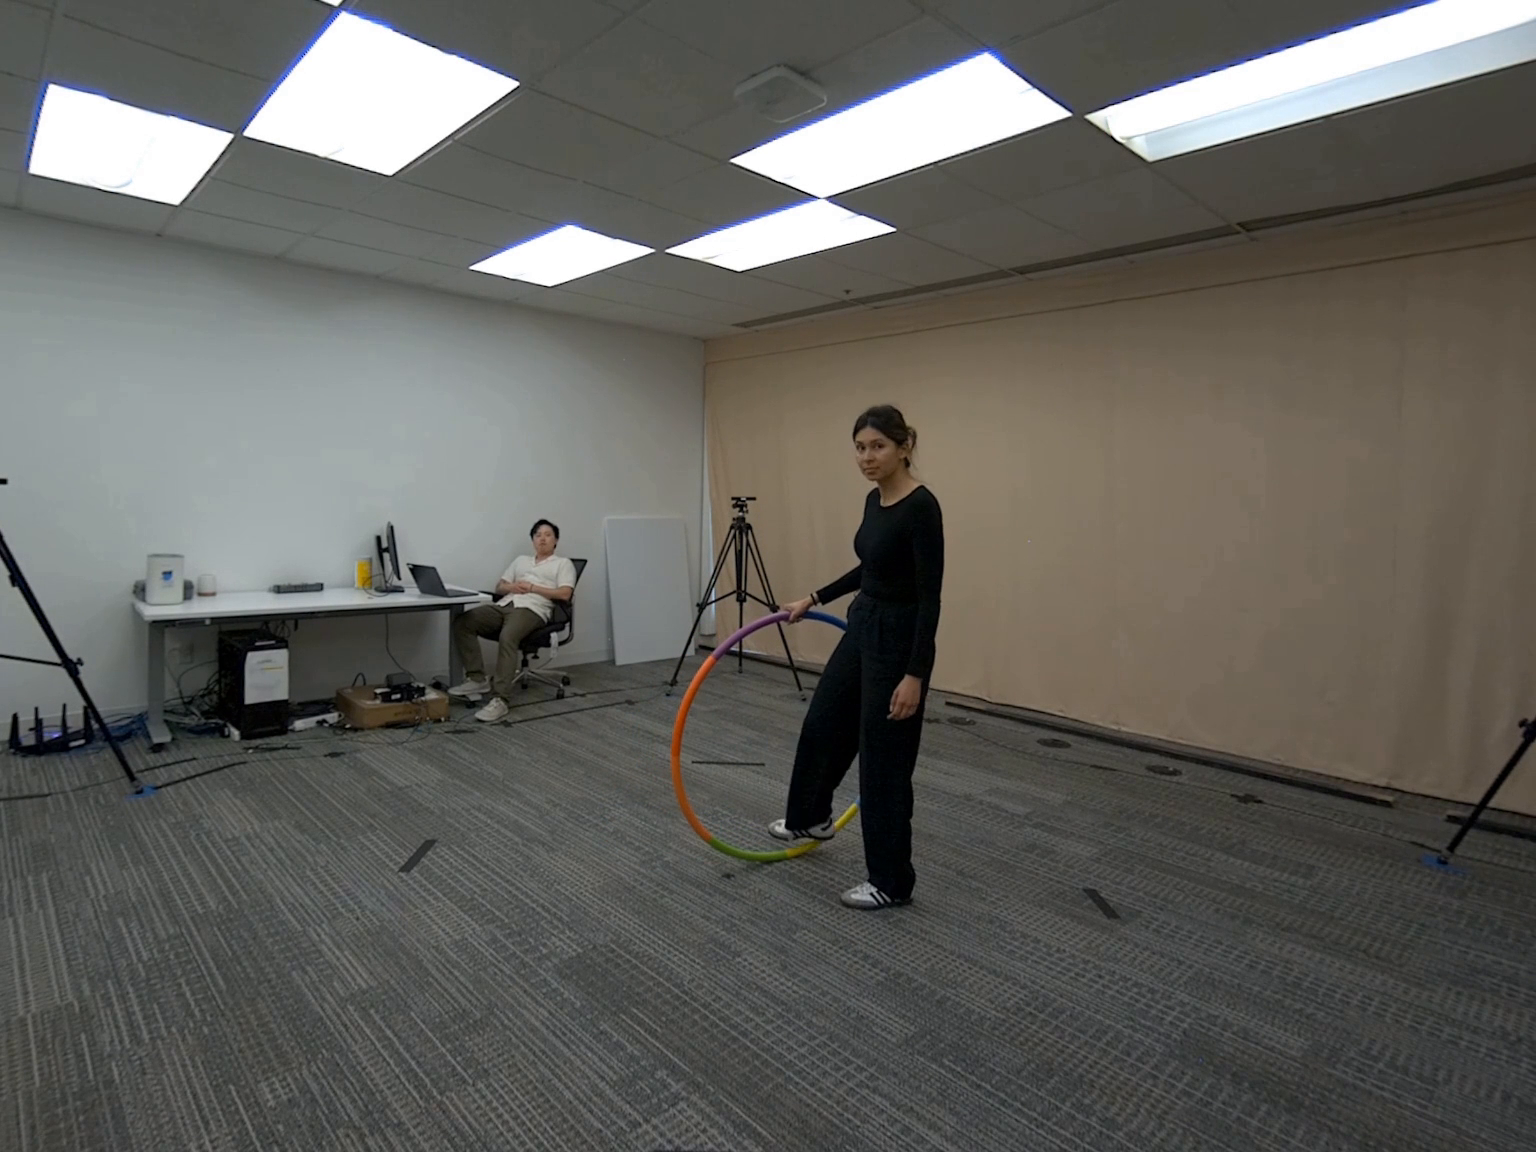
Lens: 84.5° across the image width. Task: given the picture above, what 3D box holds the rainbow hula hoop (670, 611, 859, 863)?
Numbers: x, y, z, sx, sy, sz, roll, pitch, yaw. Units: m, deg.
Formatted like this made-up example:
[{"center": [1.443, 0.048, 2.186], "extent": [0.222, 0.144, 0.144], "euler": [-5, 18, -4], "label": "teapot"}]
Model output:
[{"center": [0.081, 0.610, 3.216], "extent": [0.959, 0.974, 0.036], "euler": [-1, 7, -30], "label": "rainbow hula hoop"}]
